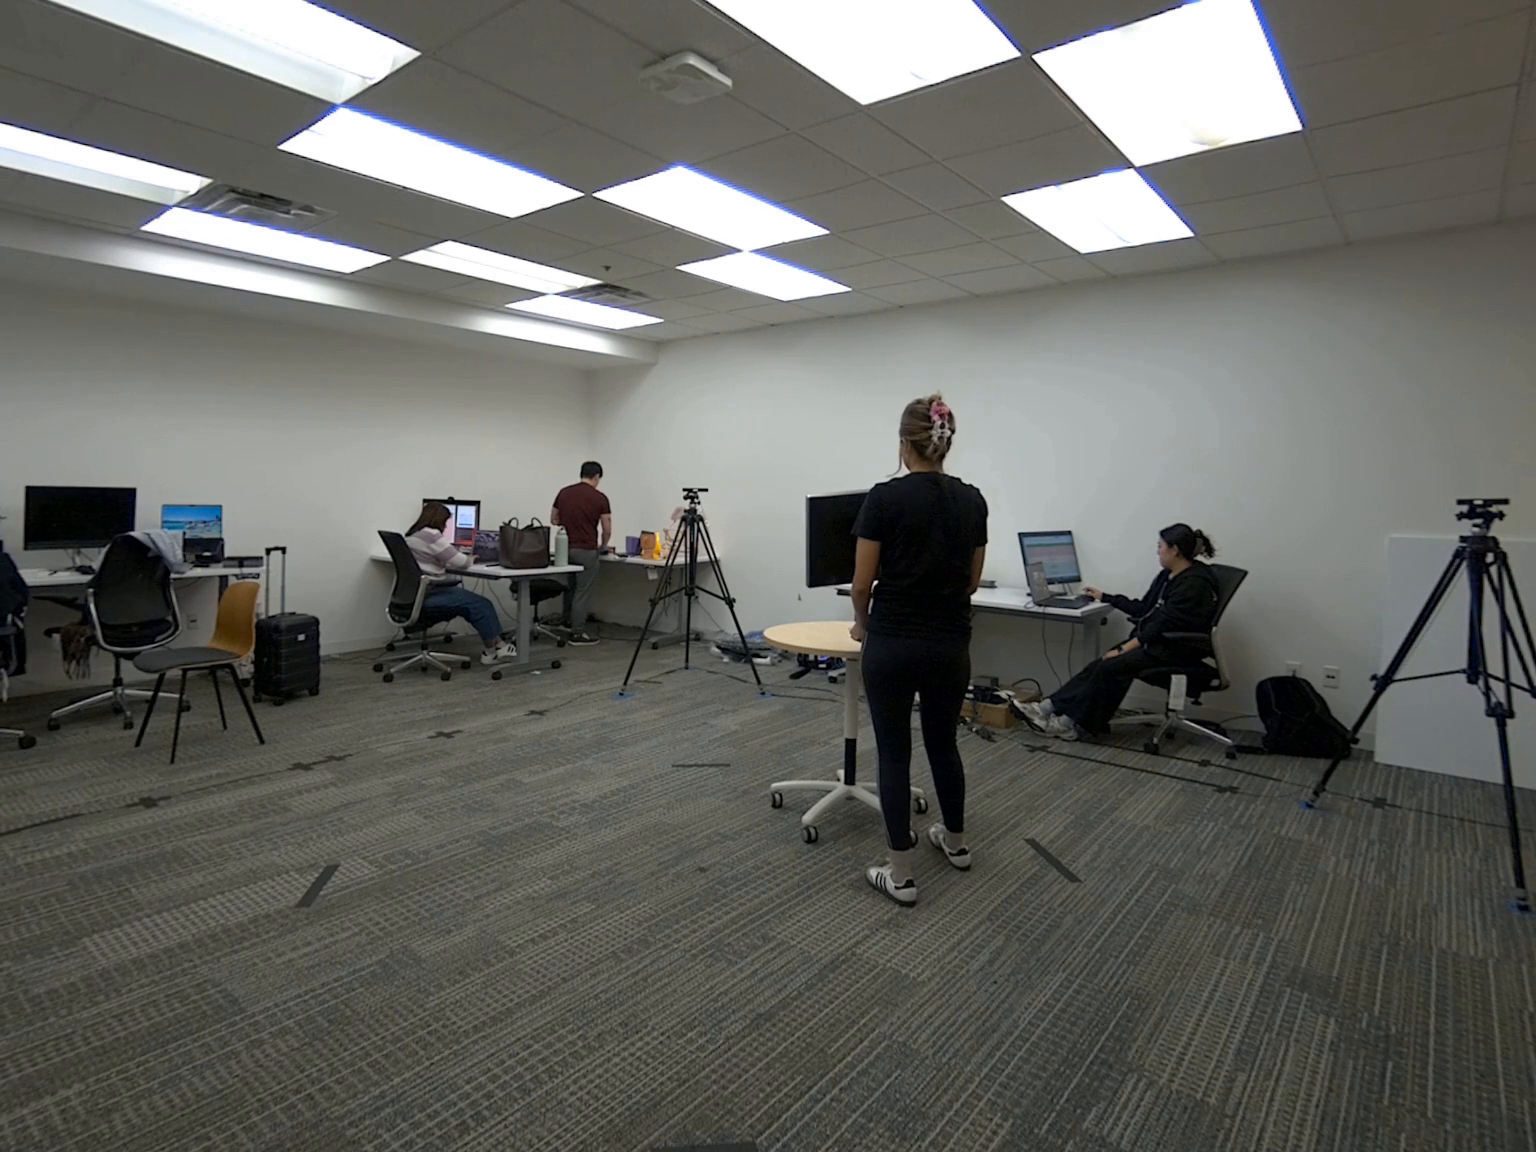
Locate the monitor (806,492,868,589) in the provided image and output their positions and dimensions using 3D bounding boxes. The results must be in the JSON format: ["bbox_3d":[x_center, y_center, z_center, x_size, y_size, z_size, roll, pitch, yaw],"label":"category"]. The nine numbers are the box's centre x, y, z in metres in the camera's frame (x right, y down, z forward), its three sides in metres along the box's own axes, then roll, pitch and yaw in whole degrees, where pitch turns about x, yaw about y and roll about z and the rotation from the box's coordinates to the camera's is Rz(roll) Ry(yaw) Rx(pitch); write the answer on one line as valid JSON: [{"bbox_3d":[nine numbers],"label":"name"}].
[{"bbox_3d":[0.409,-0.059,3.172,0.533,0.519,0.190,-7,7,-12],"label":"monitor"}]
